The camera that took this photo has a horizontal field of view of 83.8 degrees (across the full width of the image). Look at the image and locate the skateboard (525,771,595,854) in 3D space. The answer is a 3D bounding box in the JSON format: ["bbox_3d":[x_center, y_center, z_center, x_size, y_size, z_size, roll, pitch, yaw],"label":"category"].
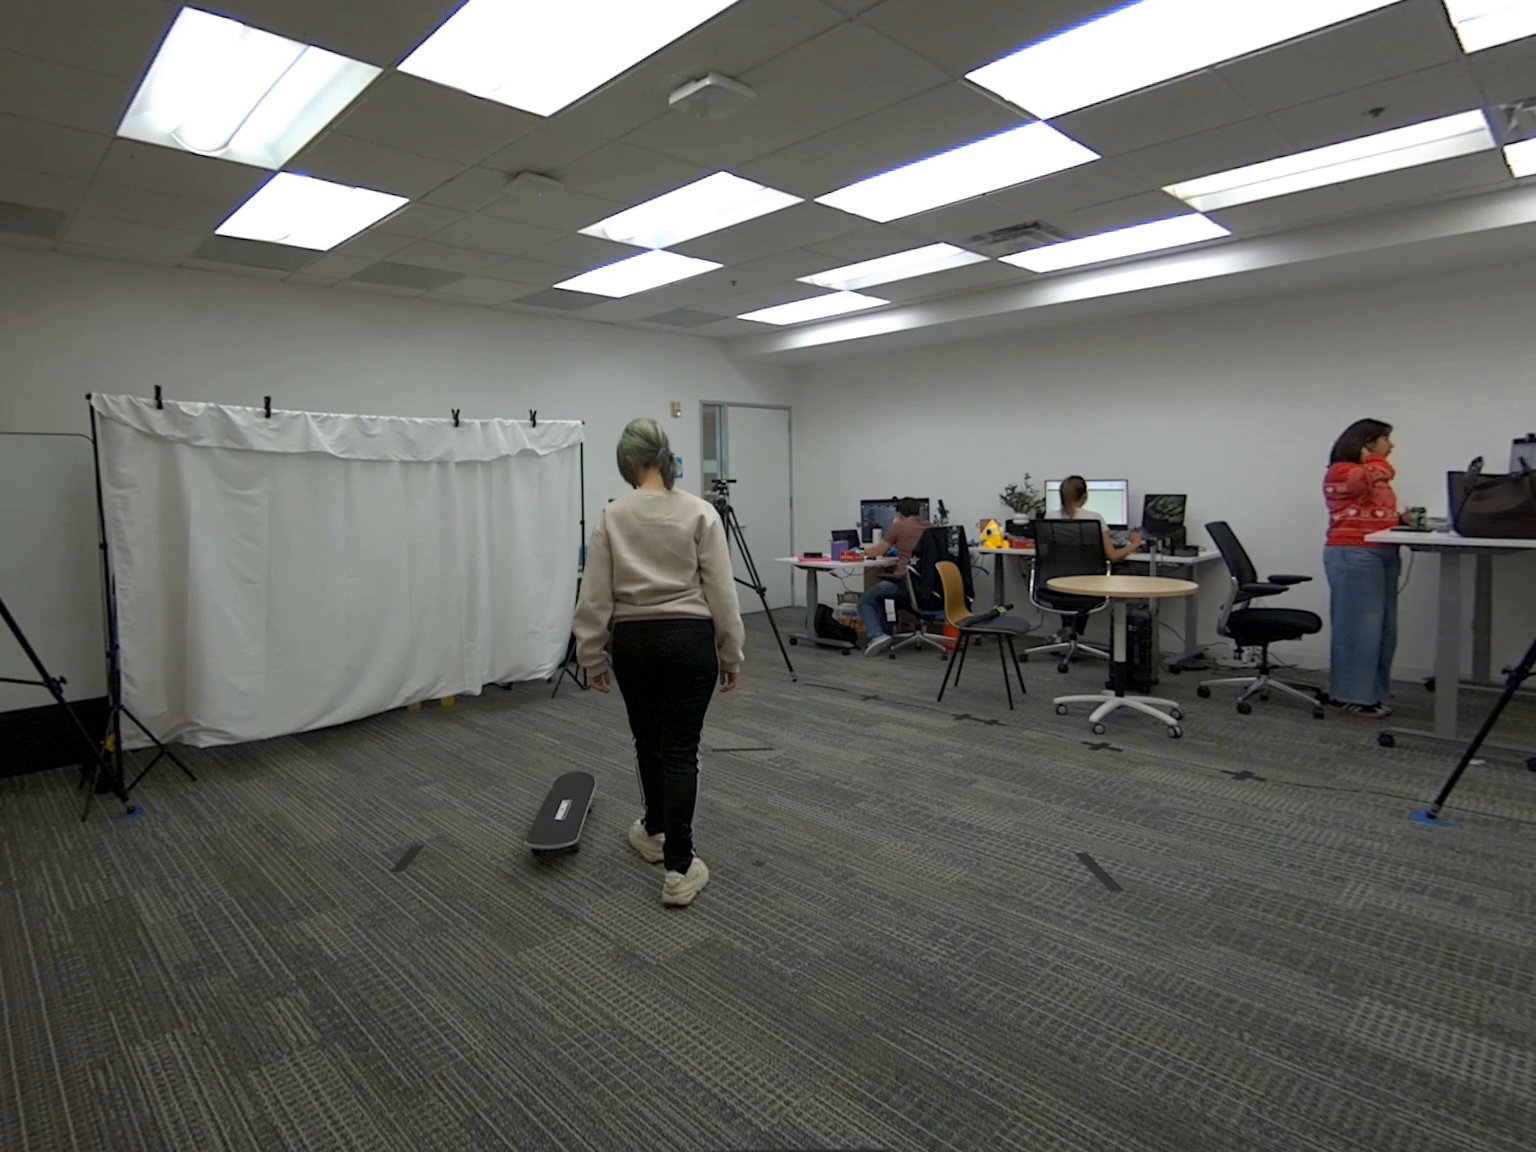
[{"bbox_3d":[-0.816,0.968,3.431,0.193,0.110,0.791,-3,6,-4],"label":"skateboard"}]
